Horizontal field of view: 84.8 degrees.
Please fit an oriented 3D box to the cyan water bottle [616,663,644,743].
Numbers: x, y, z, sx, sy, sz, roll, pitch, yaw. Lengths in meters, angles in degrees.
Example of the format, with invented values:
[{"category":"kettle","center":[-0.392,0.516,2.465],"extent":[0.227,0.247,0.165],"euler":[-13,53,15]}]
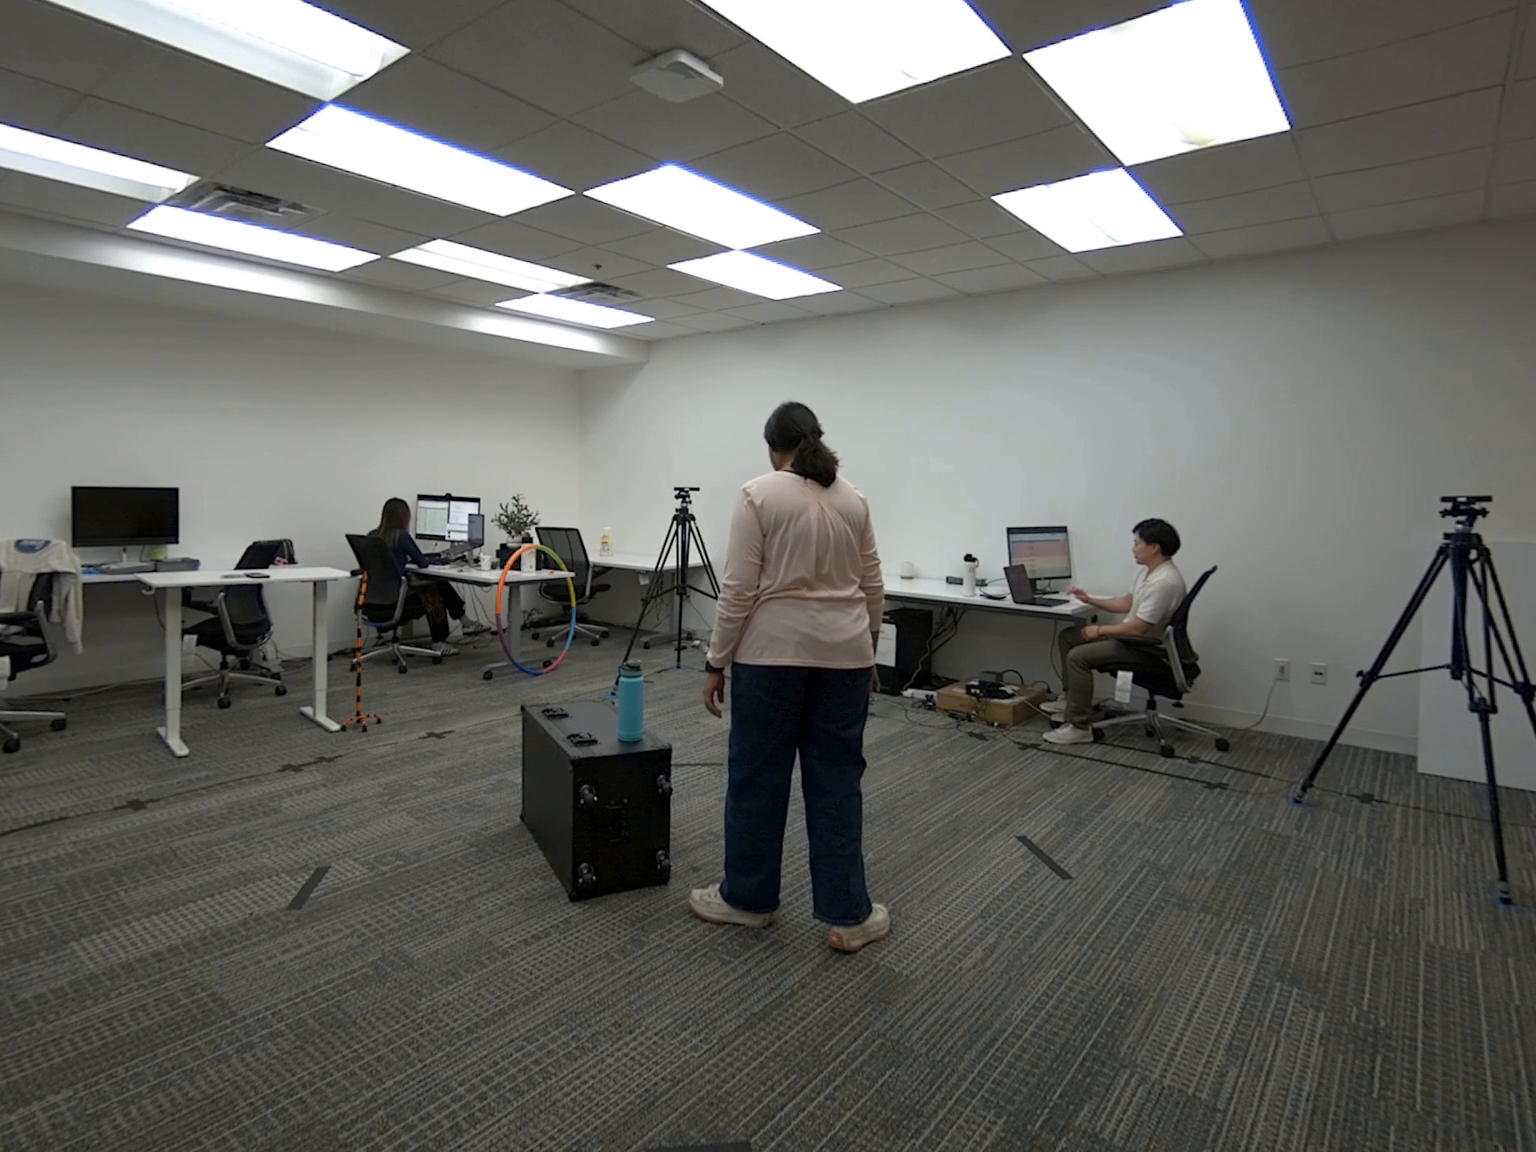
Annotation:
[{"category":"cyan water bottle","center":[-0.514,0.439,3.071],"extent":[0.092,0.282,0.093],"euler":[-1,3,-2]}]
